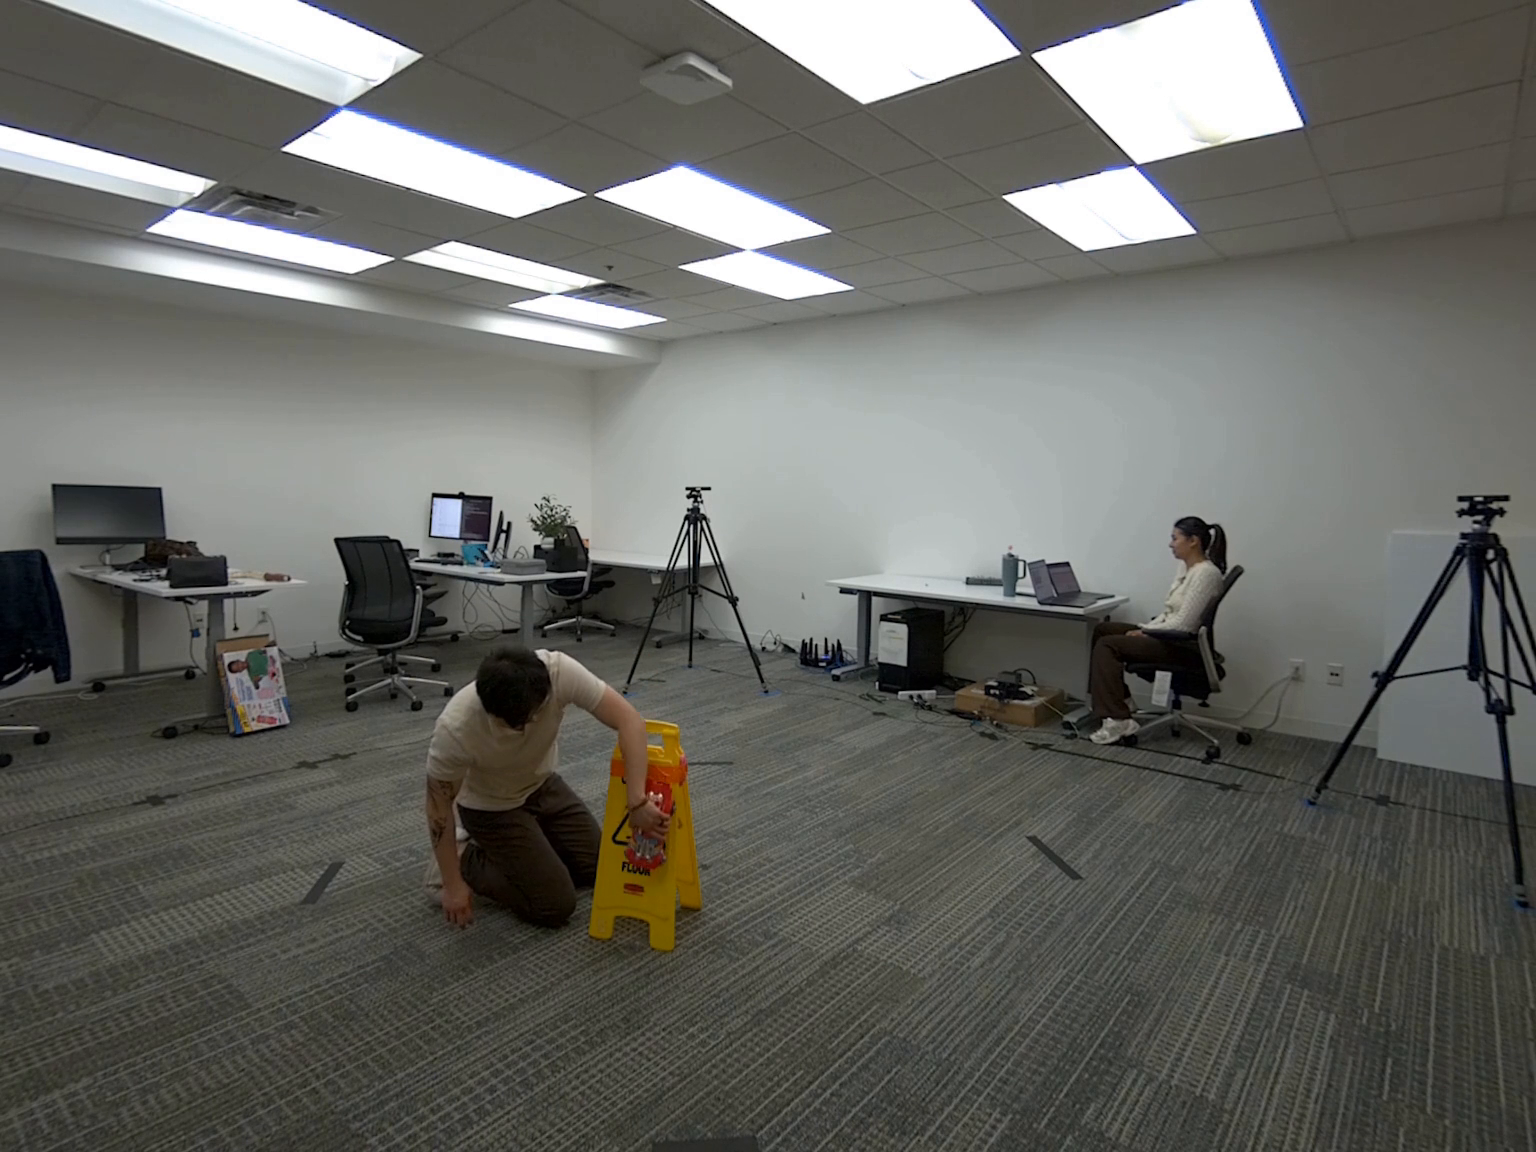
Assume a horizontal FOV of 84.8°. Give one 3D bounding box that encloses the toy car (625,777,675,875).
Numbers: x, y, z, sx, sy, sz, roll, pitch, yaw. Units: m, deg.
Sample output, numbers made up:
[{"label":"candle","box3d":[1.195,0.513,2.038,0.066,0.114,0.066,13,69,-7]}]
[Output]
[{"label":"toy car","box3d":[-0.376,0.753,2.554,0.131,0.255,0.082,5,0,7]}]
